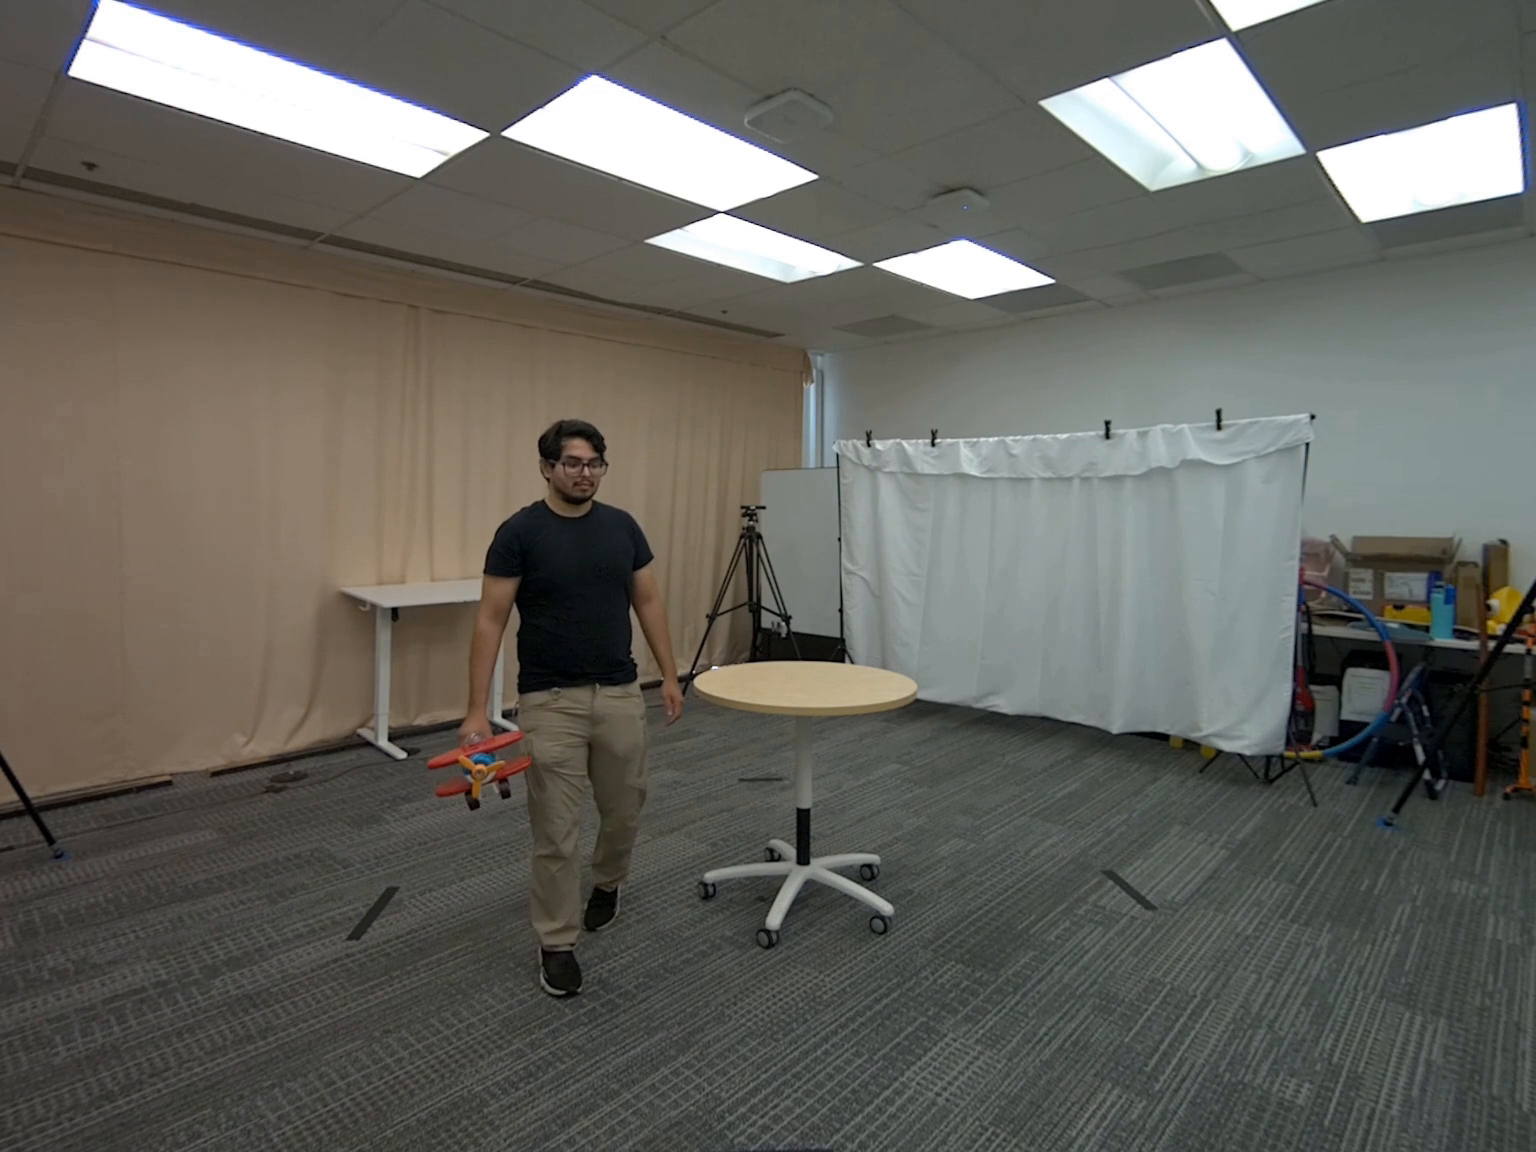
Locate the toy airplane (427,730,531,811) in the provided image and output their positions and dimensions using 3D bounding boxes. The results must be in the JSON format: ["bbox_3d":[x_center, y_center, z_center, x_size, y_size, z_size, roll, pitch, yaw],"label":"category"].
[{"bbox_3d":[-0.782,0.505,2.288,0.268,0.154,0.246,14,34,44],"label":"toy airplane"}]
